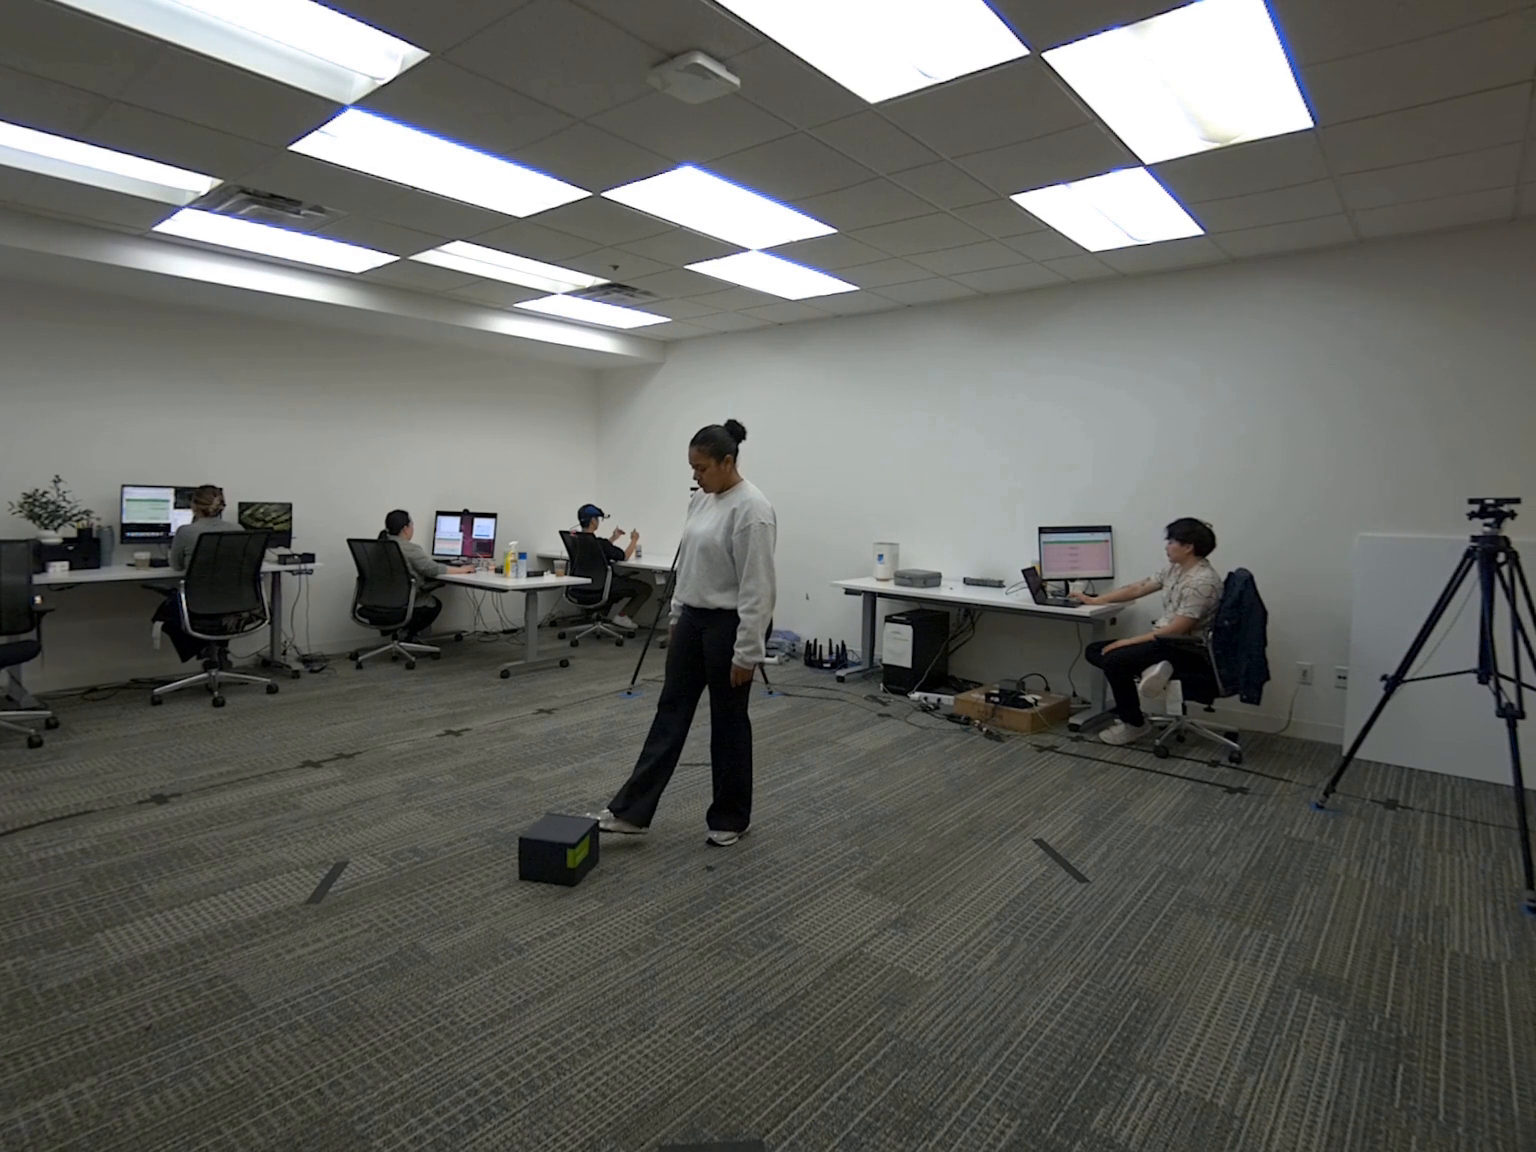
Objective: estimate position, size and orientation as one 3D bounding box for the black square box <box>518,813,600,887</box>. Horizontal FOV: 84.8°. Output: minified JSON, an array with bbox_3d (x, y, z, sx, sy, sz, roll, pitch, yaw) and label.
[{"bbox_3d":[-0.751,0.974,3.073,0.220,0.155,0.225,2,5,12],"label":"black square box"}]
